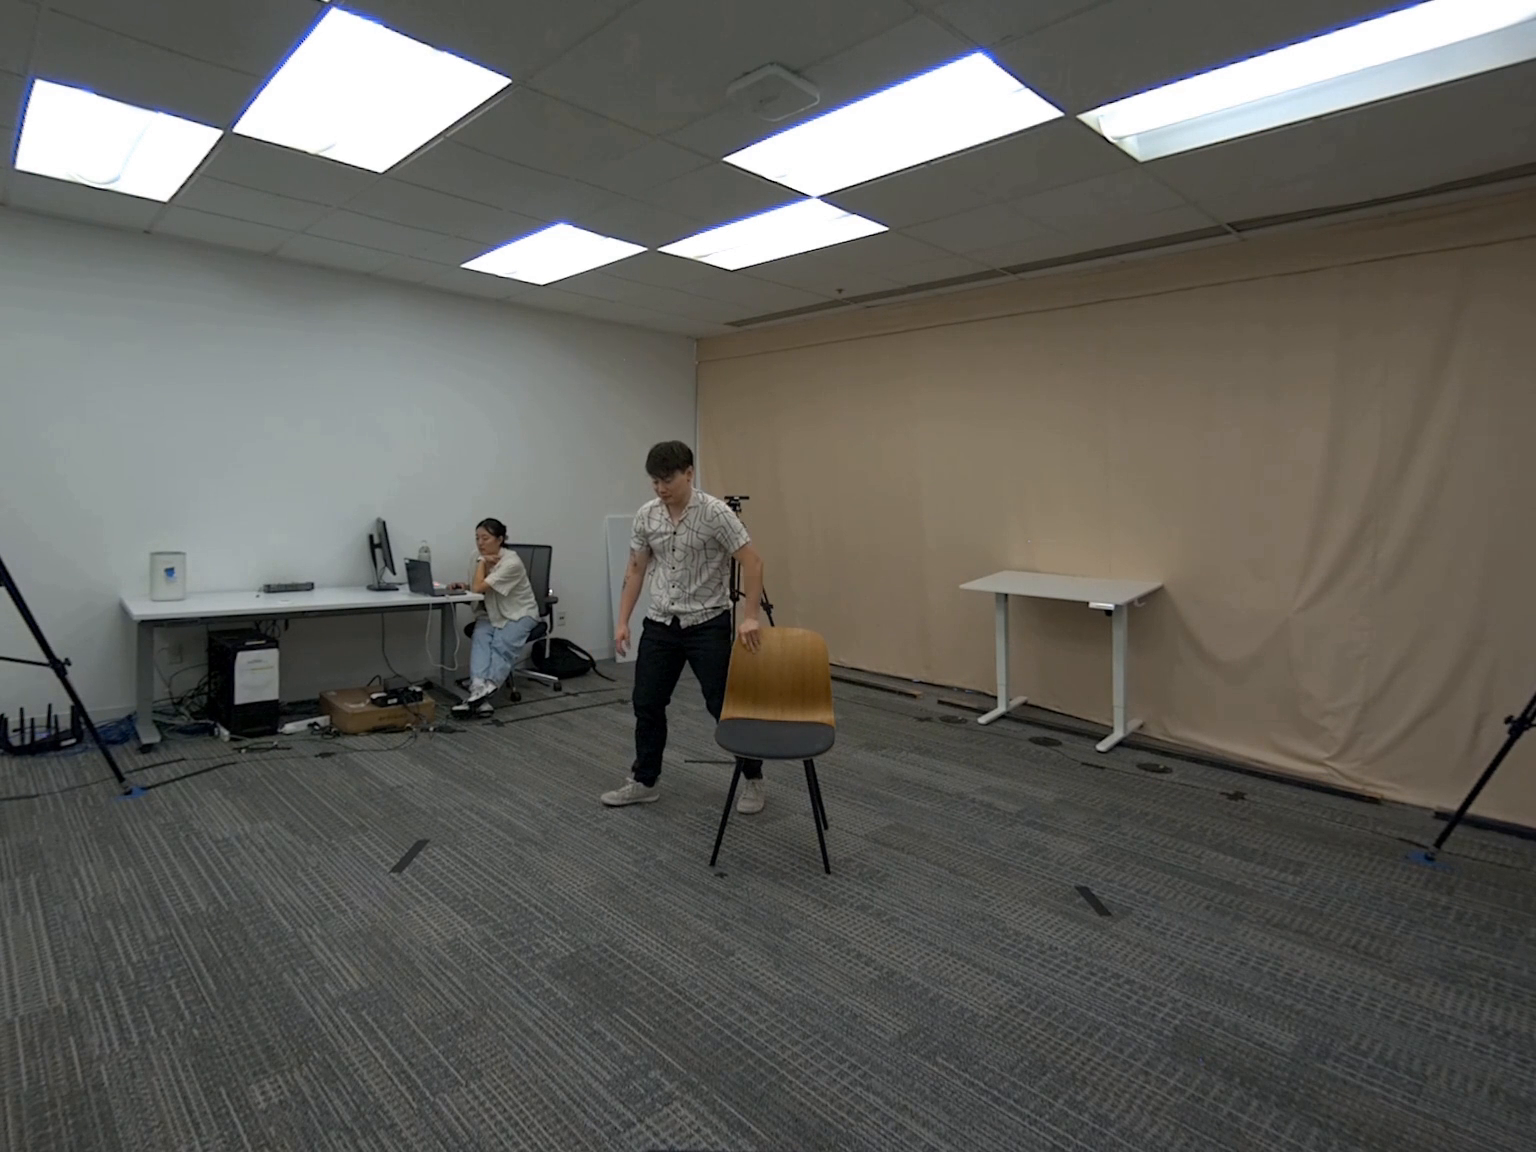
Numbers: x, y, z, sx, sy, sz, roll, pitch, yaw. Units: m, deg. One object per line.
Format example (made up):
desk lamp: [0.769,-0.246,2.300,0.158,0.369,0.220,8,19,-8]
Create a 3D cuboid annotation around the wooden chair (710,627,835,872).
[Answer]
wooden chair: [0.025,0.660,3.337,0.480,0.878,0.520,2,-1,4]
